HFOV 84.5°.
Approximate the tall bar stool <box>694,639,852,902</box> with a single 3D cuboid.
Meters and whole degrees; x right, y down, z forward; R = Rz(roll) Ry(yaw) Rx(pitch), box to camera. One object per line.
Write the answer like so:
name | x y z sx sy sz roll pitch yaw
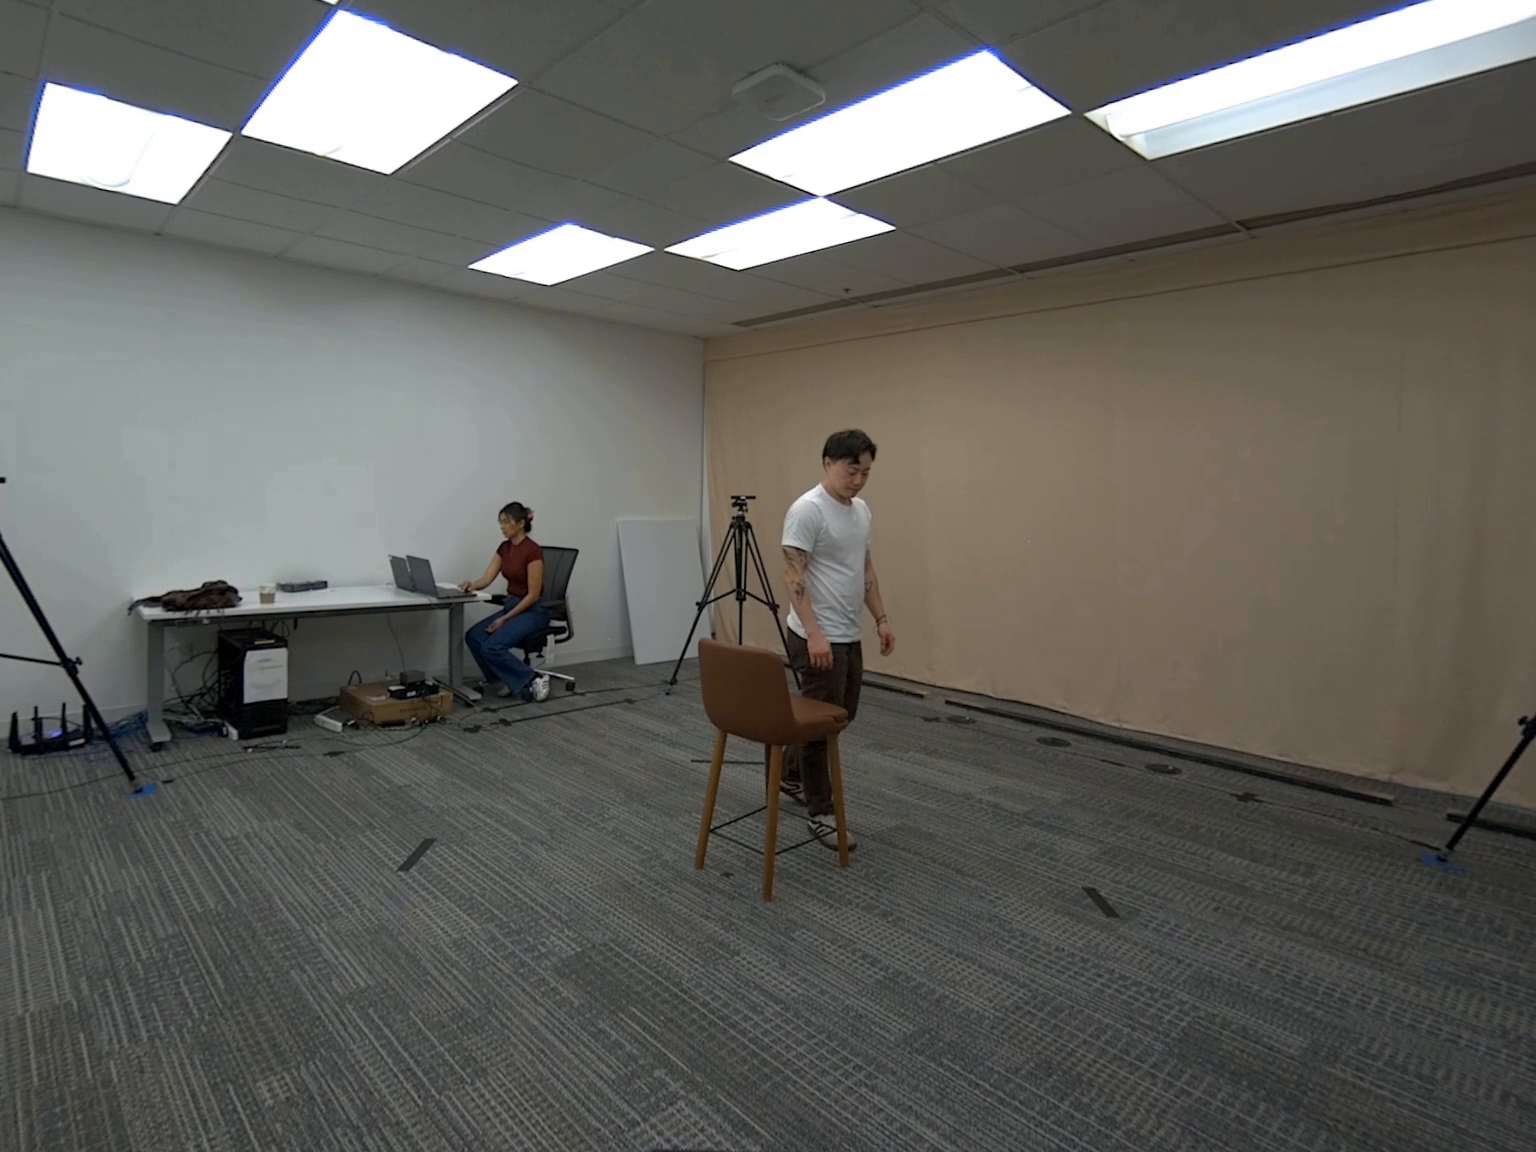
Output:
tall bar stool | 0.010 0.667 3.156 0.468 0.887 0.457 4 6 44
